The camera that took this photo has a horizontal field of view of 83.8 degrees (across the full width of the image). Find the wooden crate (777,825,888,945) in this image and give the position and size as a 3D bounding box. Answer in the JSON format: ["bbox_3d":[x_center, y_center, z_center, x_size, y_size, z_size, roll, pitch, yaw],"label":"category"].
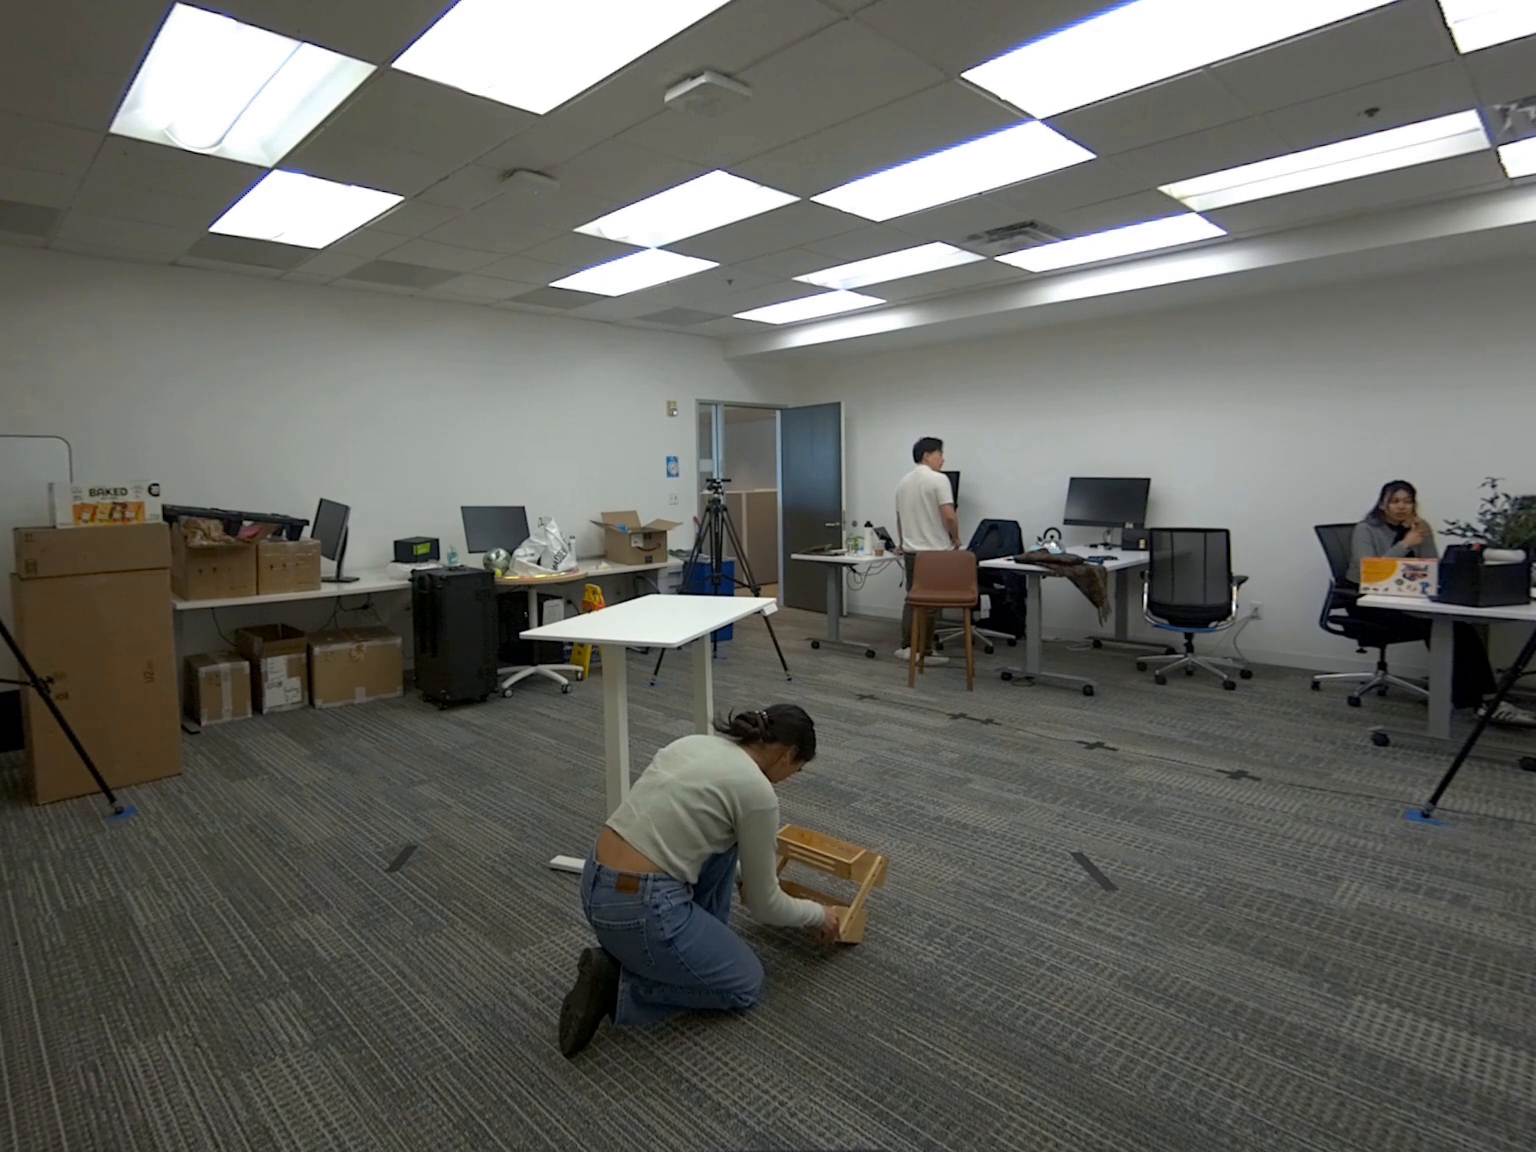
[{"bbox_3d":[0.146,0.931,2.635,0.334,0.275,0.290,4,-19,42],"label":"wooden crate"}]
